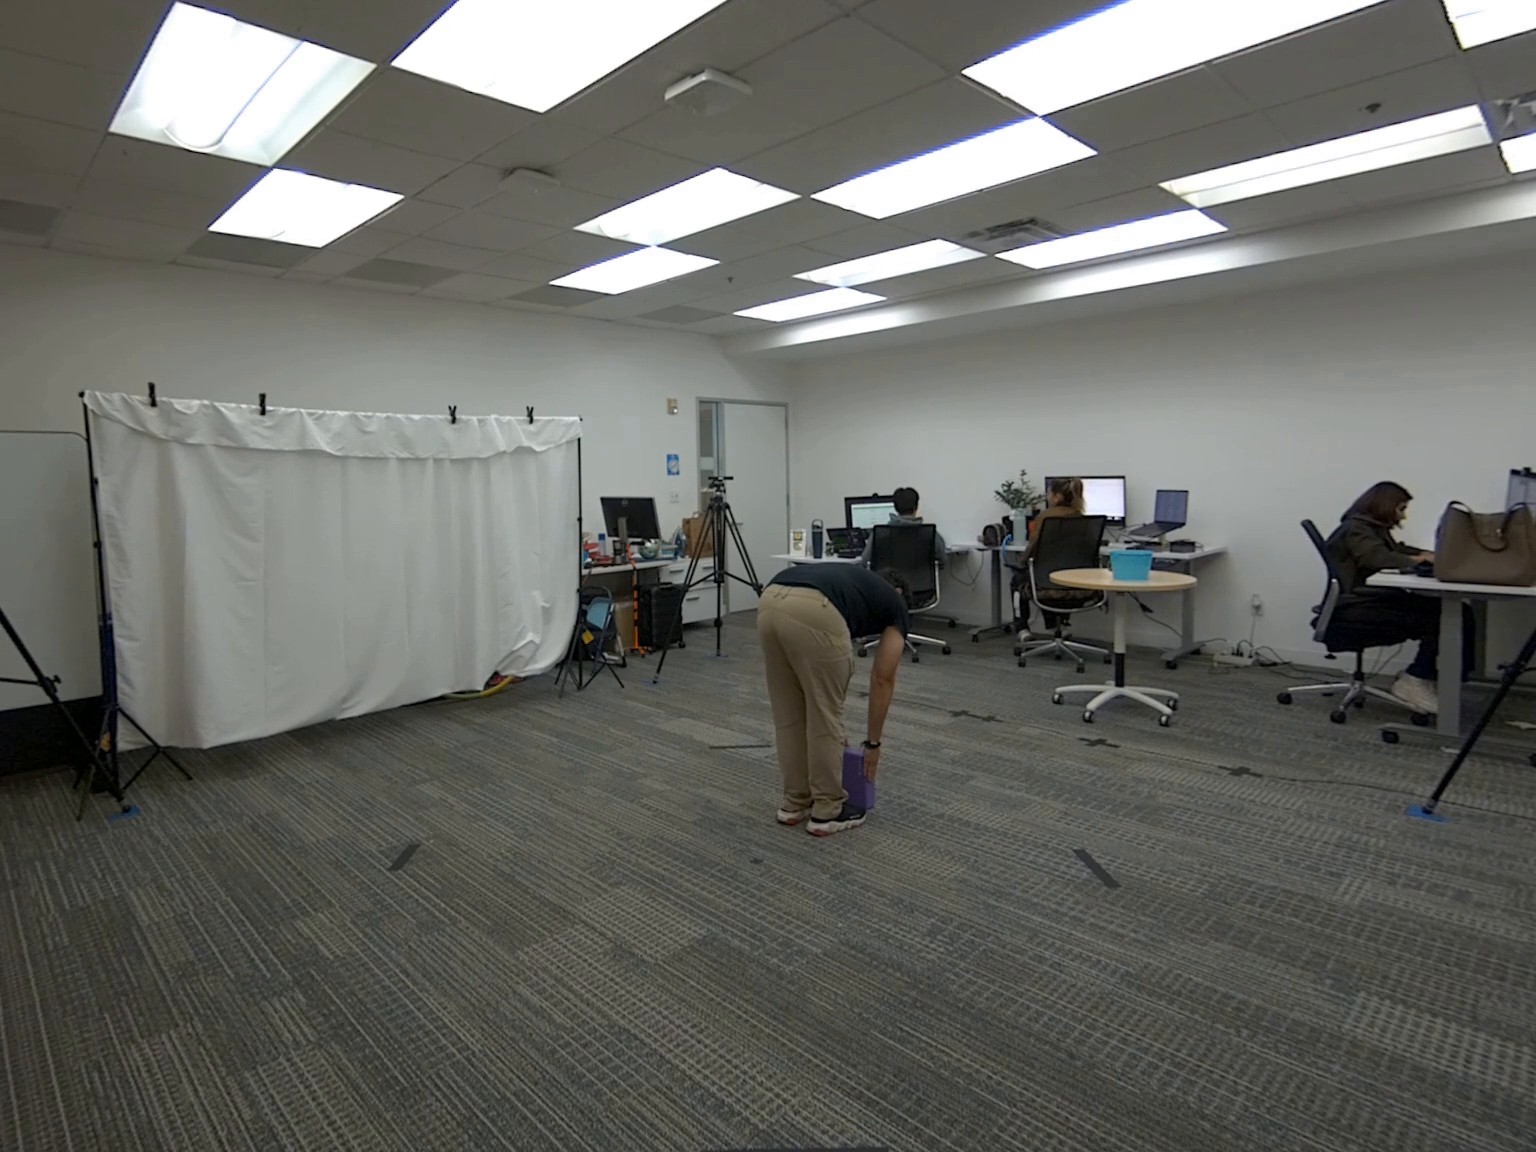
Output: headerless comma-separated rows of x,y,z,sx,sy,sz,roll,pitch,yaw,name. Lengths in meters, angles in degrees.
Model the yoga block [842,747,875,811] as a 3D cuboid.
0.377,0.858,3.623,0.074,0.229,0.153,-2,2,-44,yoga block
